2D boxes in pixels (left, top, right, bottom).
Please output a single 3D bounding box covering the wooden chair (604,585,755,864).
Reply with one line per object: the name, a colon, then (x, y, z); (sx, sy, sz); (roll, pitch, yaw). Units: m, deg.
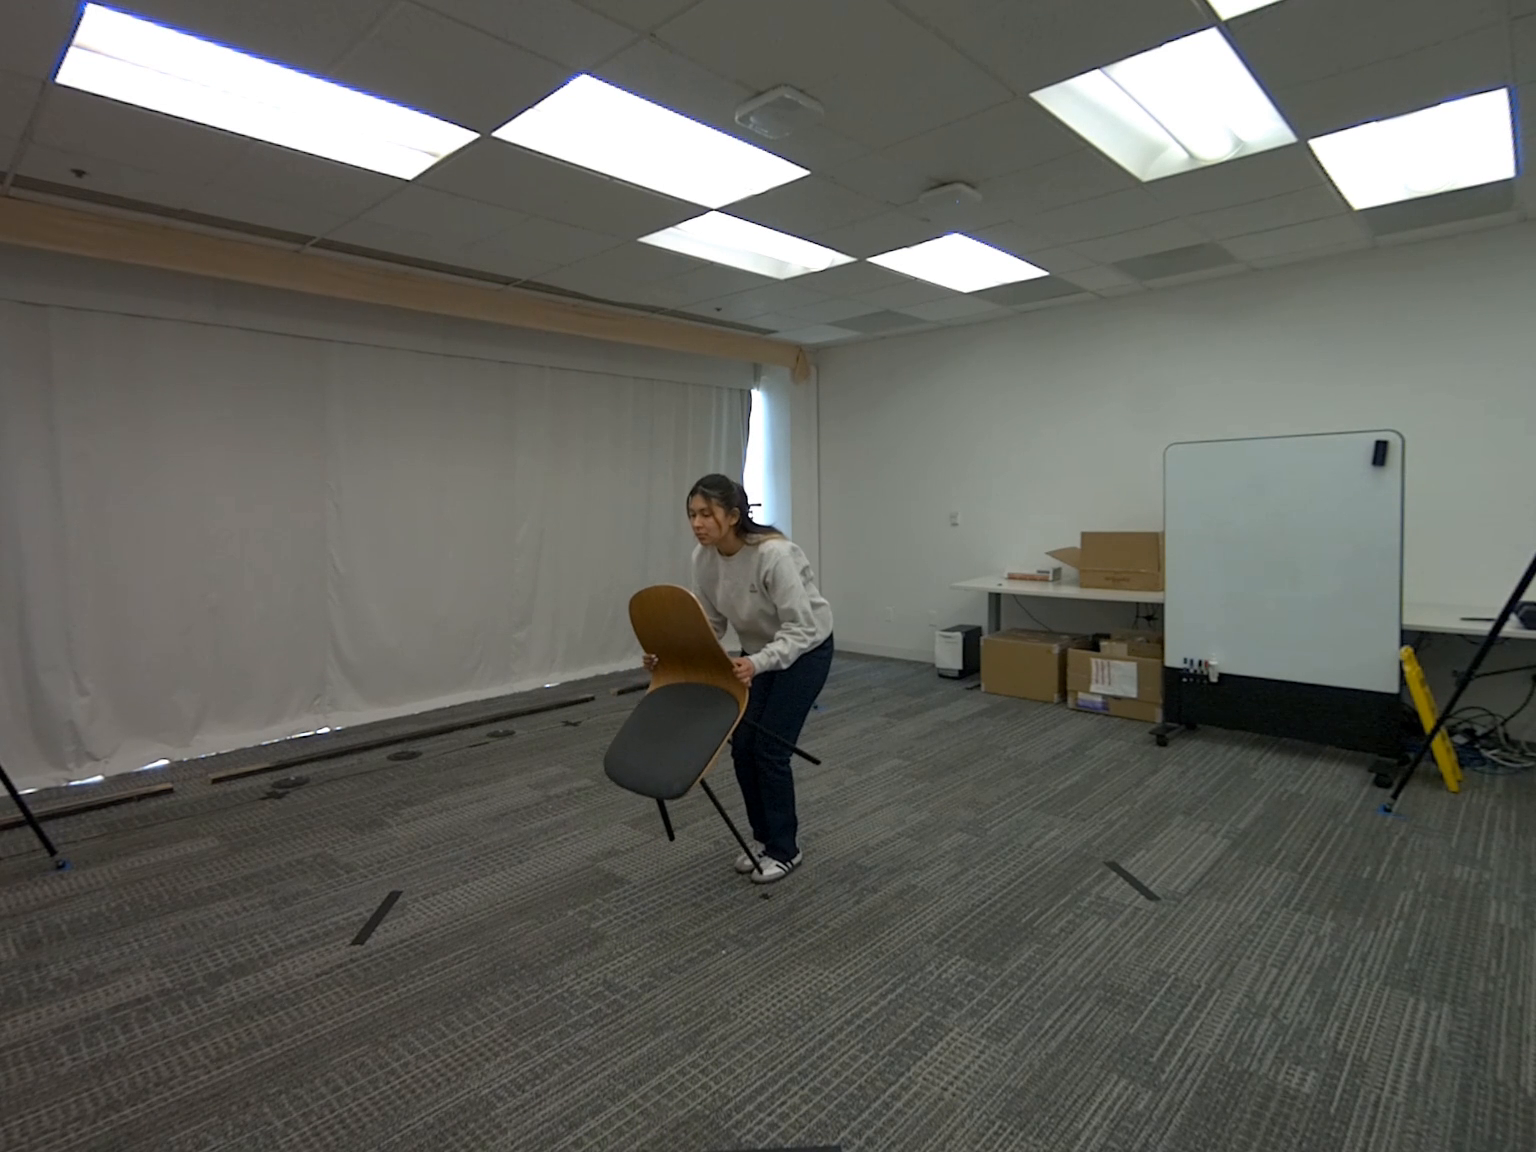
wooden chair: (-0.283, 0.528, 2.837); (0.494, 0.854, 0.520); (2, 40, 42)
